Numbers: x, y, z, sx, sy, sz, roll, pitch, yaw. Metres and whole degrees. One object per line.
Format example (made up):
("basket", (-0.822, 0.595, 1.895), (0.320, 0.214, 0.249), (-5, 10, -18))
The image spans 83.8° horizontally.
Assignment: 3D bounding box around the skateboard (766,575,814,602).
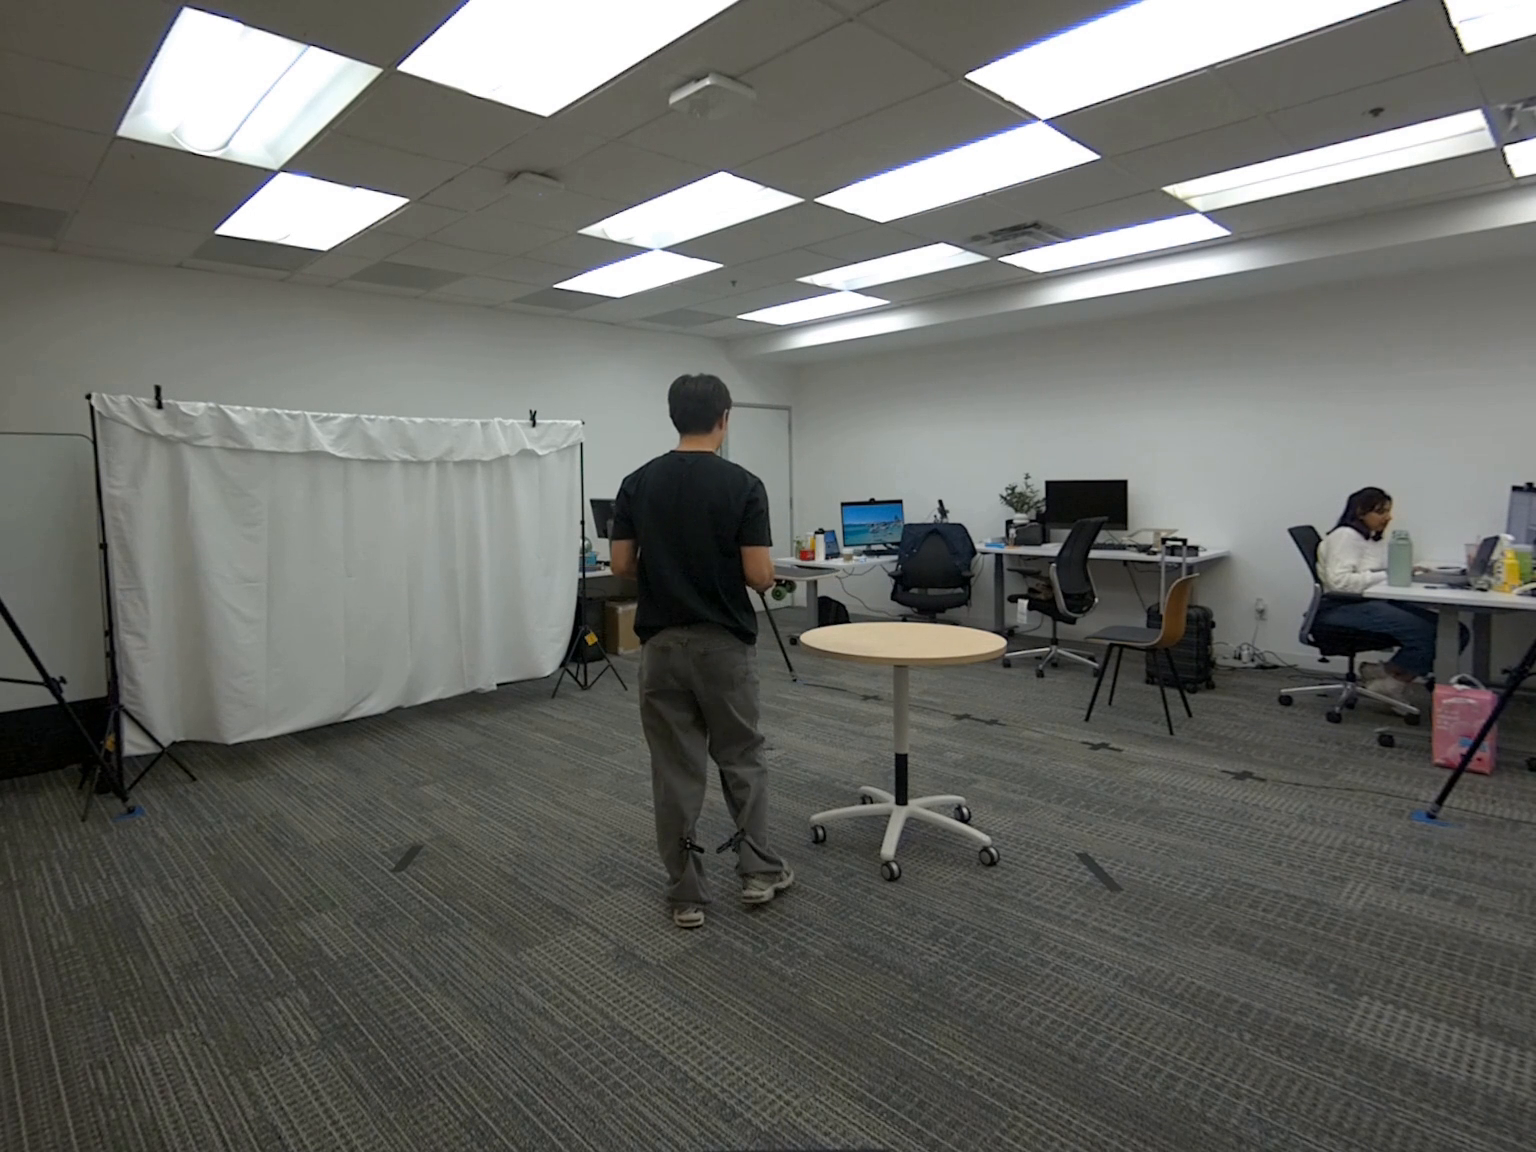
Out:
("skateboard", (-0.132, 0.007, 3.087), (0.801, 0.109, 0.191), (5, 9, 20))
